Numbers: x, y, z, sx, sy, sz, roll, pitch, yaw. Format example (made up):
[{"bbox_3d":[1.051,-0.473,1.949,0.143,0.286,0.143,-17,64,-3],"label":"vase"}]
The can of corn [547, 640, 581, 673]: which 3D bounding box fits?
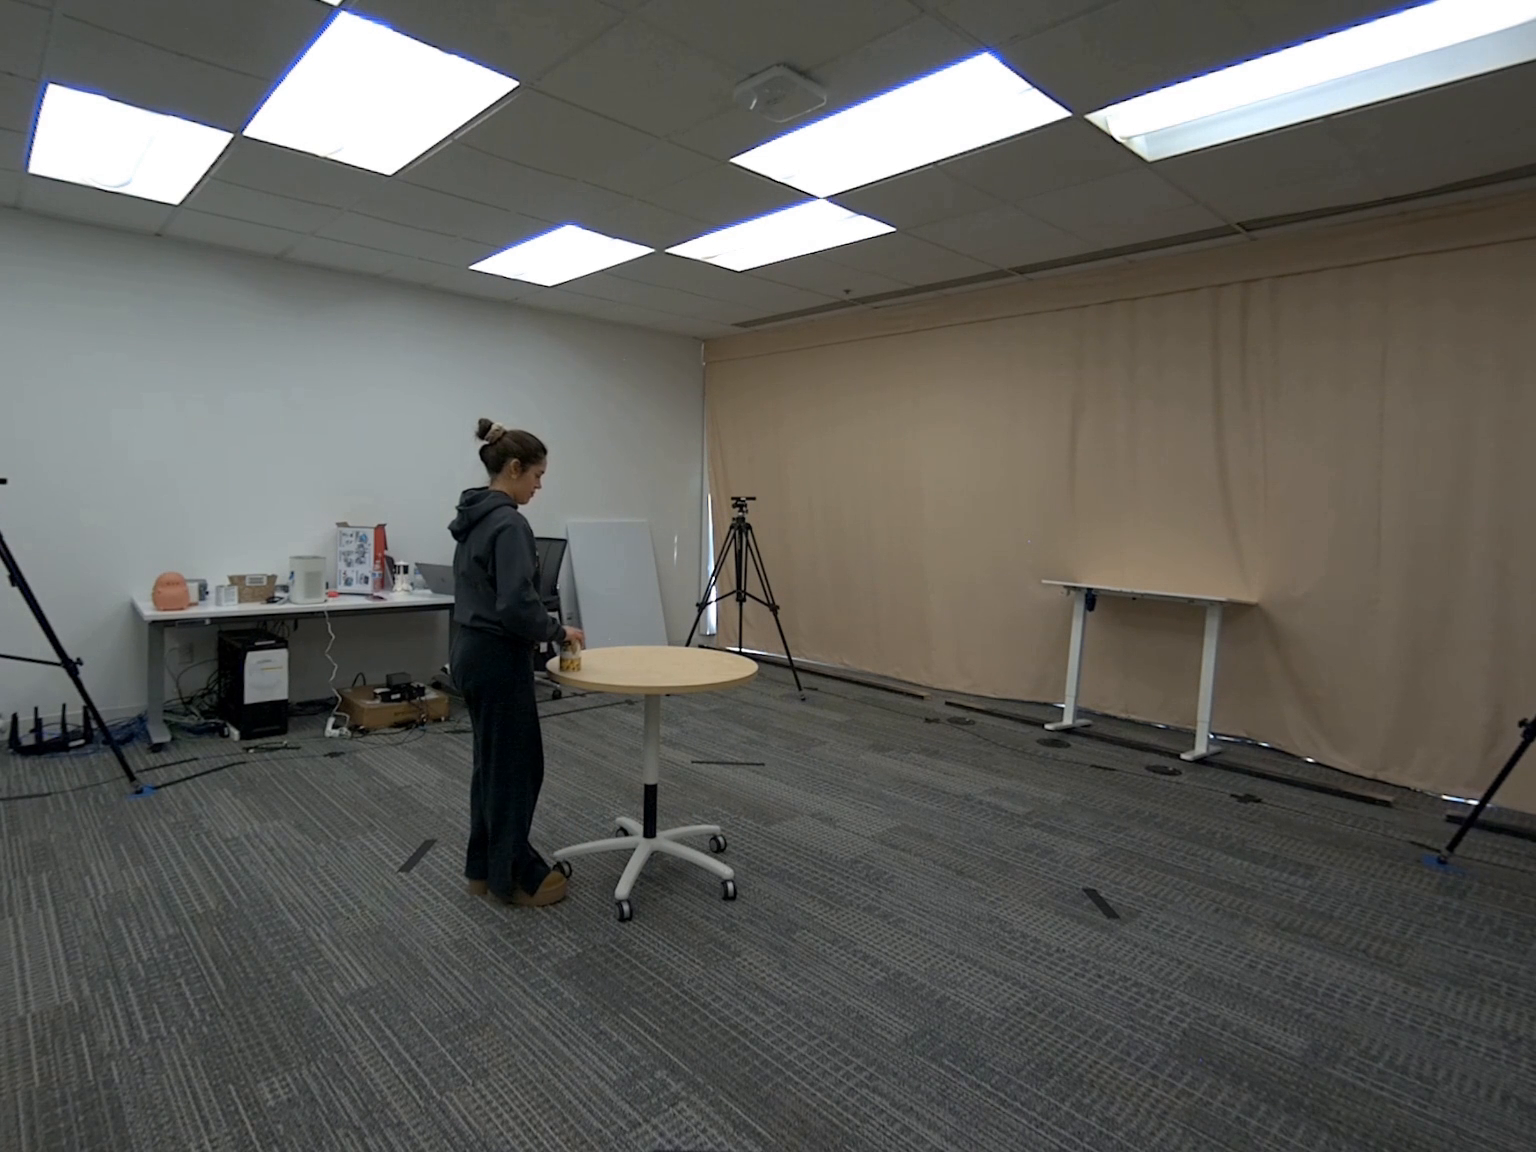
[{"bbox_3d":[-0.691,0.271,2.909,0.074,0.110,0.074,1,7,-1],"label":"can of corn"}]
